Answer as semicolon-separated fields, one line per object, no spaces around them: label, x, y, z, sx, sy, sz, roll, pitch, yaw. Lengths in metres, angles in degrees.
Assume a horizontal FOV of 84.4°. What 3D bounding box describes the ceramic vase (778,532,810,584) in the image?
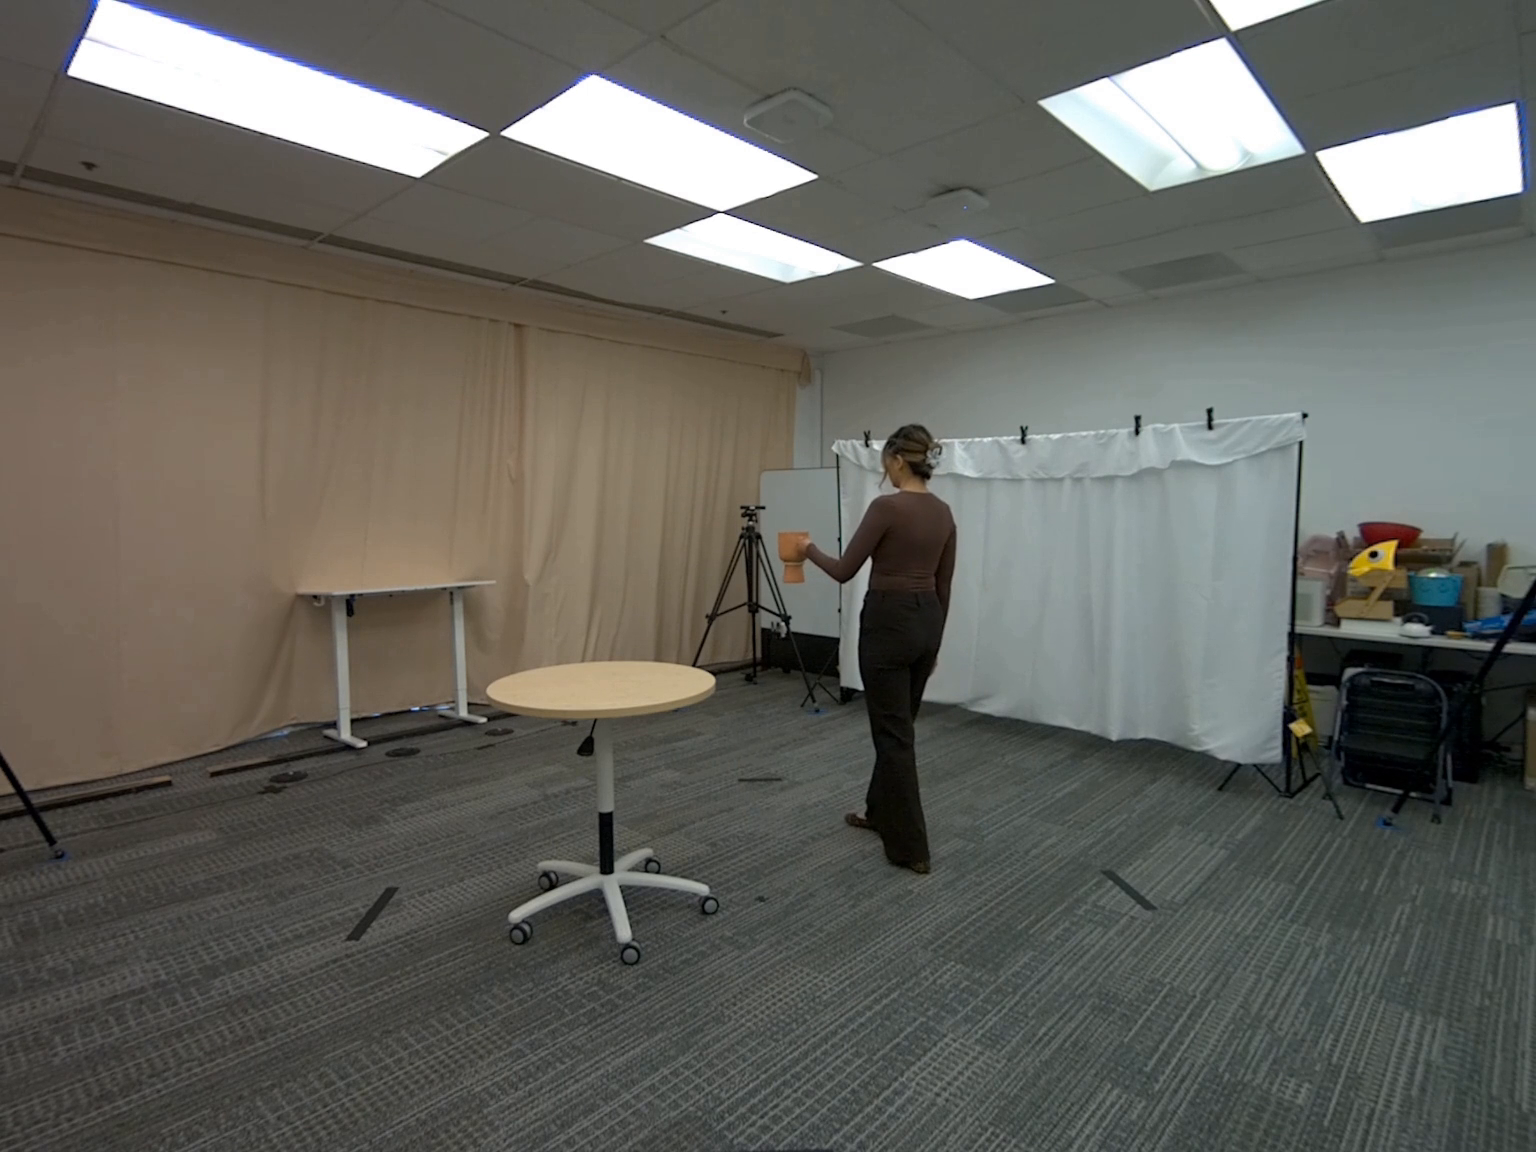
ceramic vase;0.118;-0.084;3.662;0.136;0.219;0.157;0;3;12
